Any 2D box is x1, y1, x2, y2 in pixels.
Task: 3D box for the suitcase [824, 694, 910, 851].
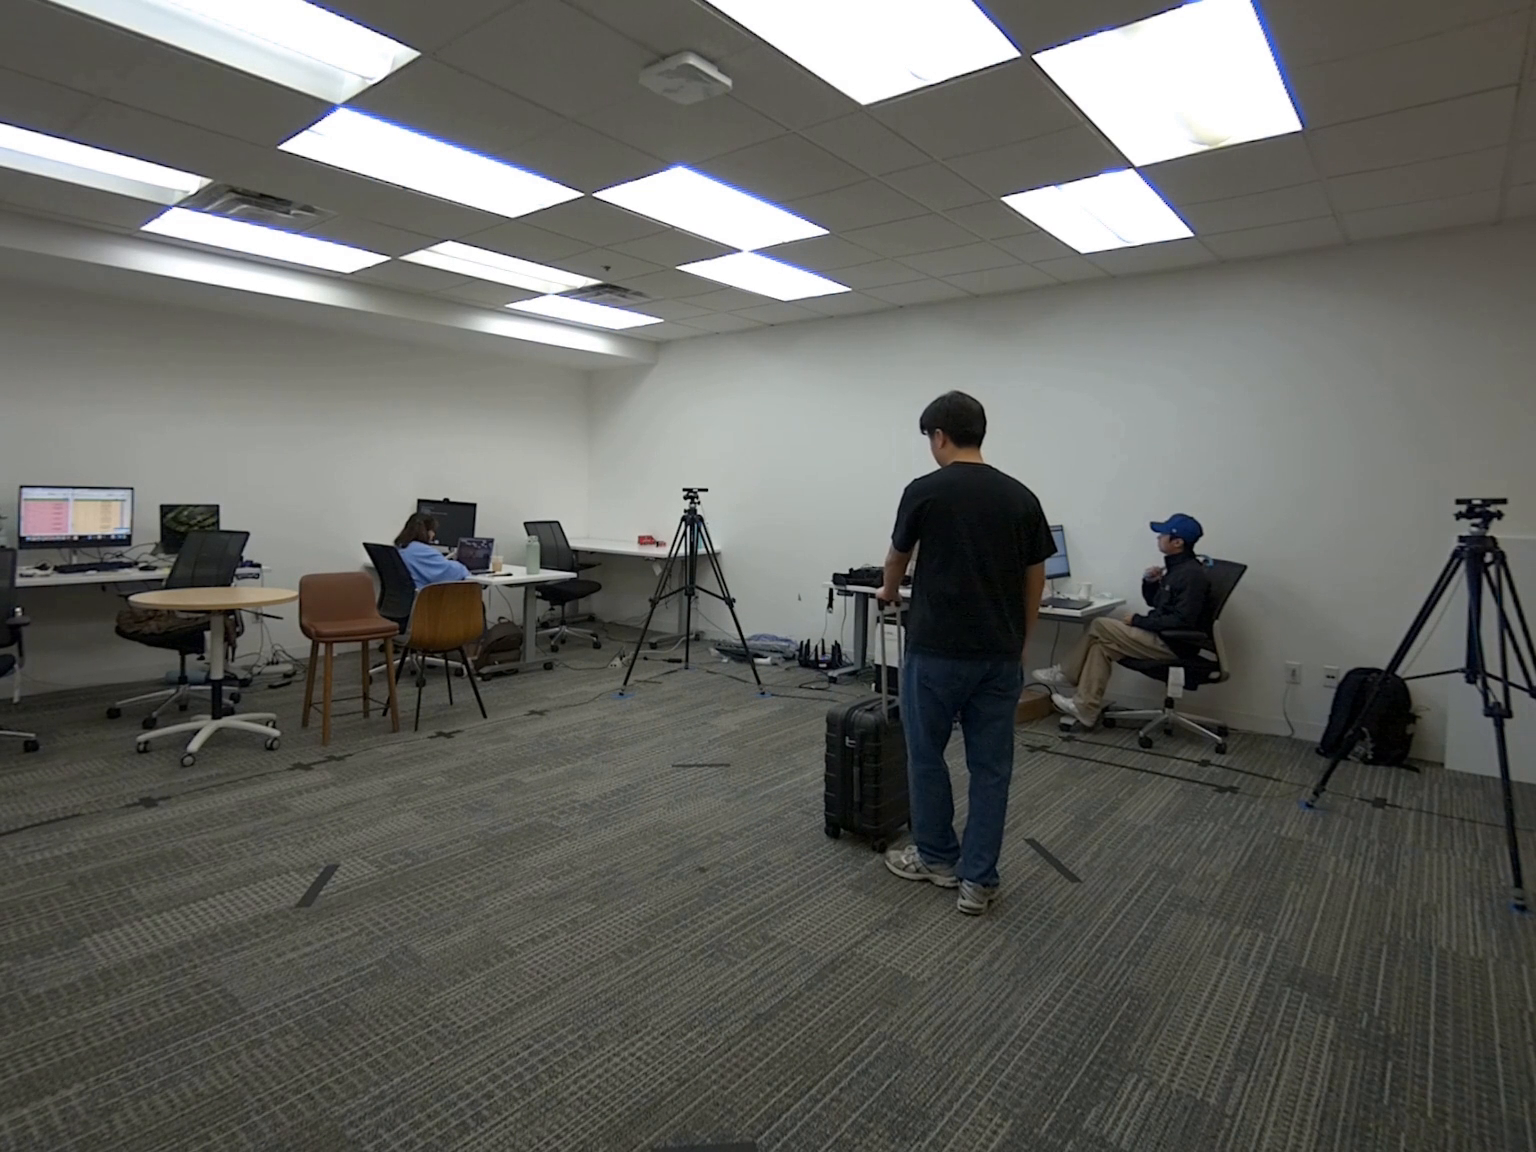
[{"bbox_3d":[0.399,0.573,3.453,0.265,0.977,0.373,-2,2,39],"label":"suitcase"}]
